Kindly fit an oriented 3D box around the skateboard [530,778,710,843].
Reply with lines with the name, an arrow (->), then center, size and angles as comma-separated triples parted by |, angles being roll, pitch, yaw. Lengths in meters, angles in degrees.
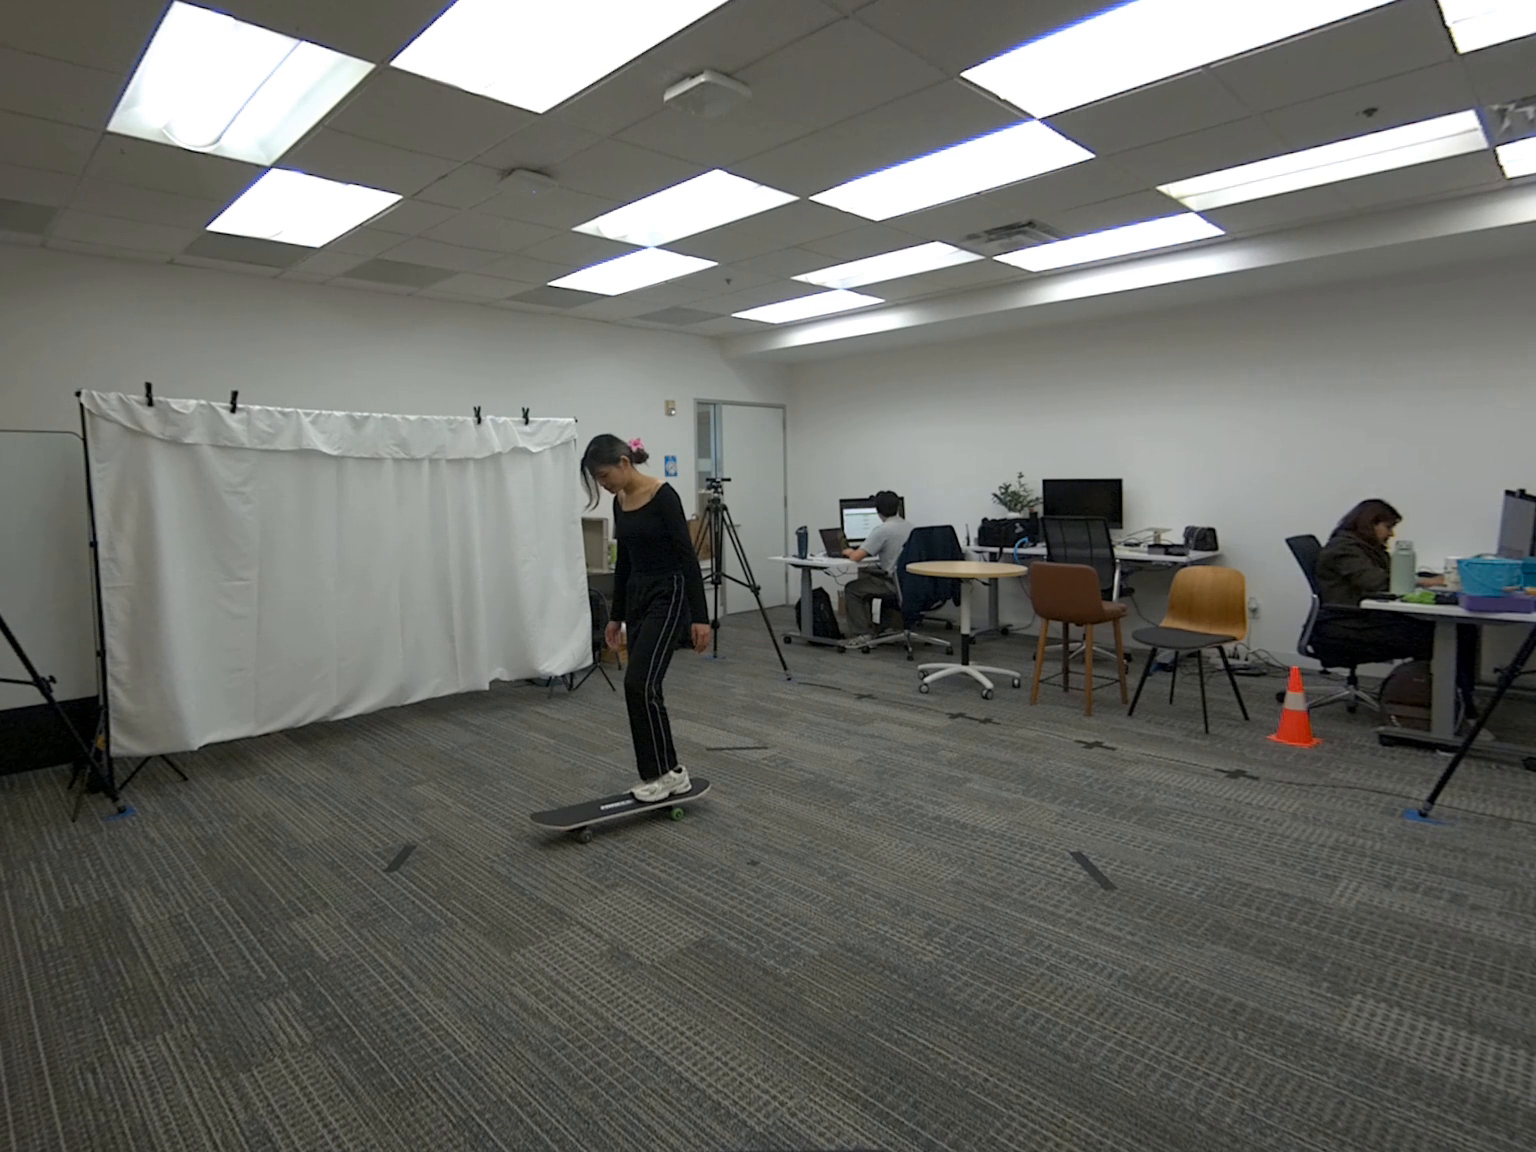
skateboard -> -0.584, 0.957, 3.476 | 0.766, 0.110, 0.199 | -5, 6, -32
